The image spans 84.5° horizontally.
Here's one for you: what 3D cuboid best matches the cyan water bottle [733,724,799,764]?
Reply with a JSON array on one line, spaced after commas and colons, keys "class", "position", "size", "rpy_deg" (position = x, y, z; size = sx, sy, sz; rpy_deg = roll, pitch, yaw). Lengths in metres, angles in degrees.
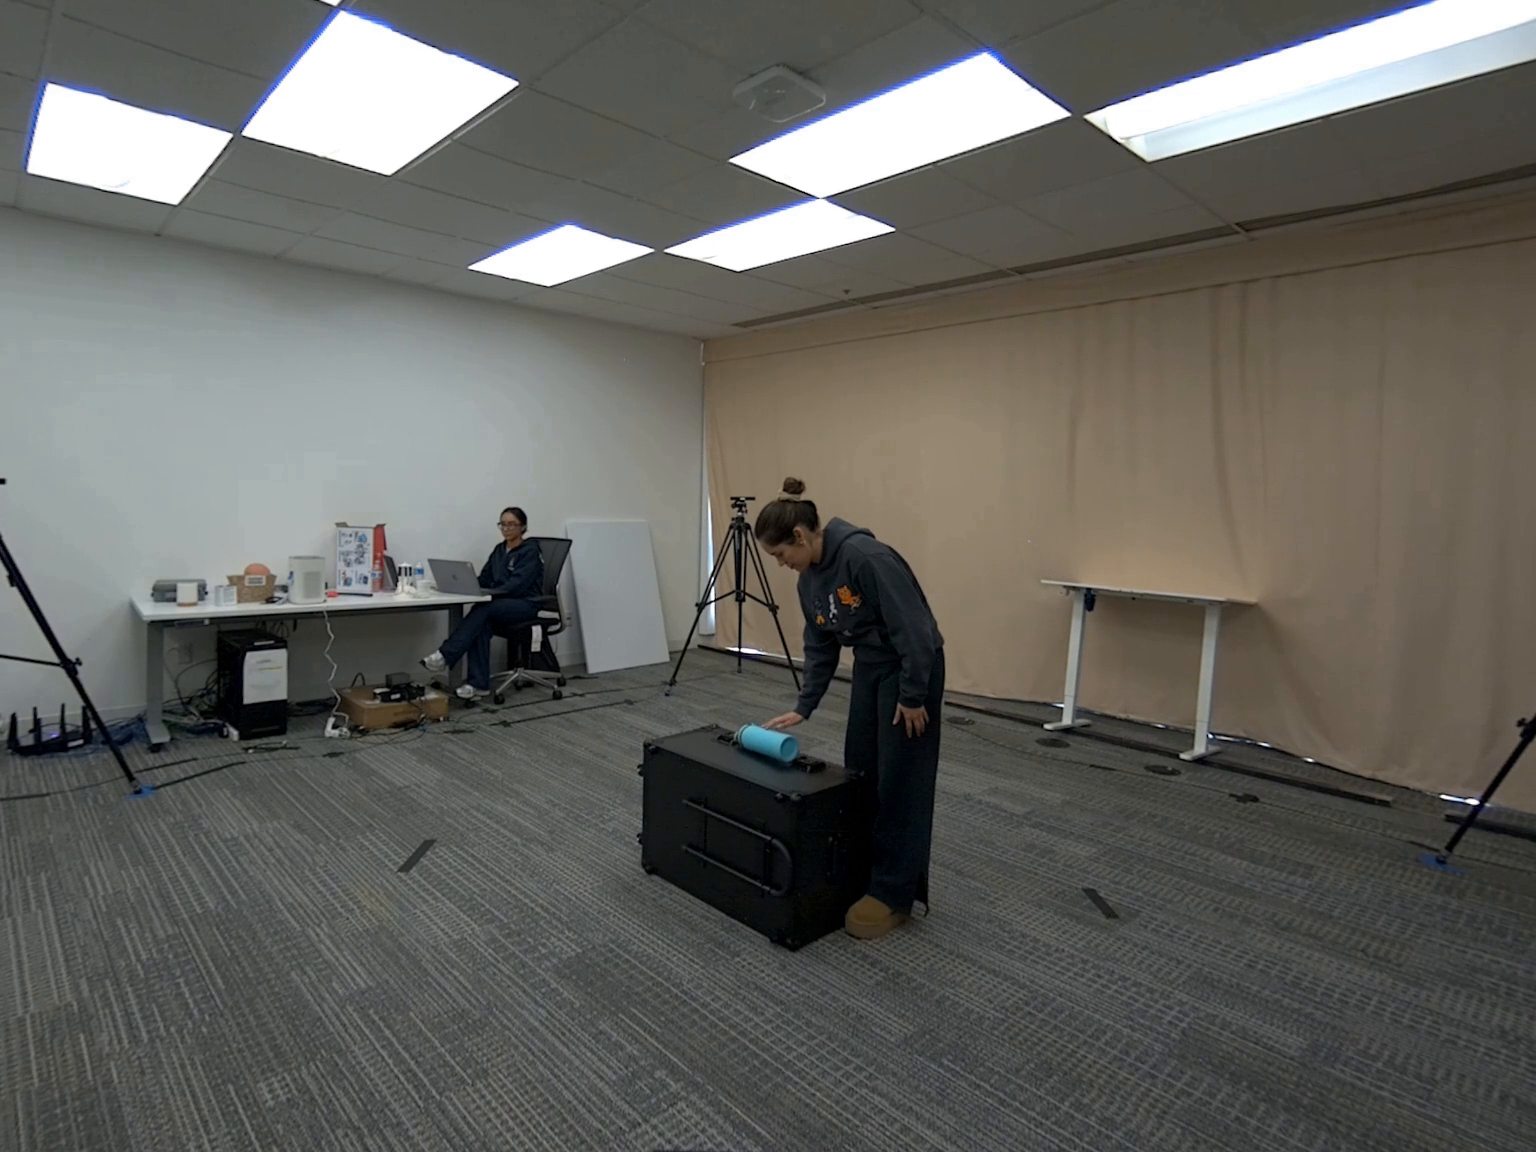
[{"class": "cyan water bottle", "position": [-0.017, 0.584, 2.998], "size": [0.090, 0.092, 0.290], "rpy_deg": [-2, 1, -38]}]
